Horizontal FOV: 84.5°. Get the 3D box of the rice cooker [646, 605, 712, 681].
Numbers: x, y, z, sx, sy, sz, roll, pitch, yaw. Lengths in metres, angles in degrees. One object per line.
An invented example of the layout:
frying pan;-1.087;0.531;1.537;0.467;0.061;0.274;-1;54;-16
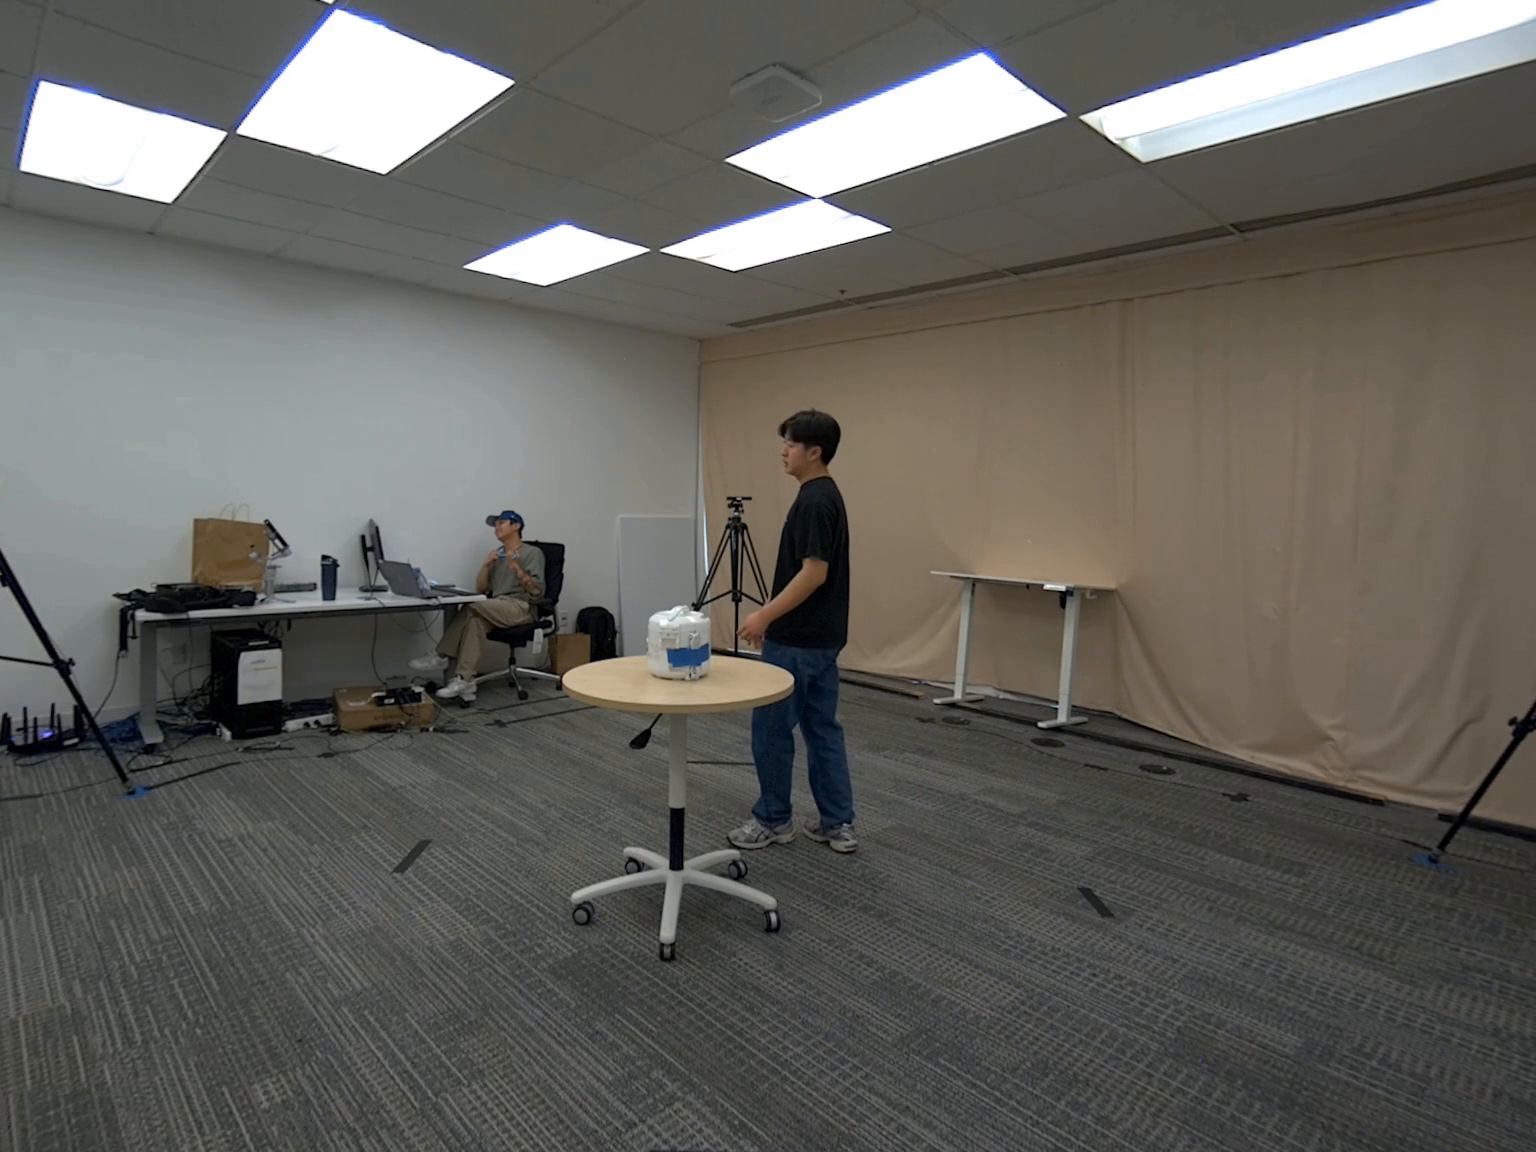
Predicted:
rice cooker;-0.304;0.220;2.814;0.220;0.232;0.218;3;5;15
